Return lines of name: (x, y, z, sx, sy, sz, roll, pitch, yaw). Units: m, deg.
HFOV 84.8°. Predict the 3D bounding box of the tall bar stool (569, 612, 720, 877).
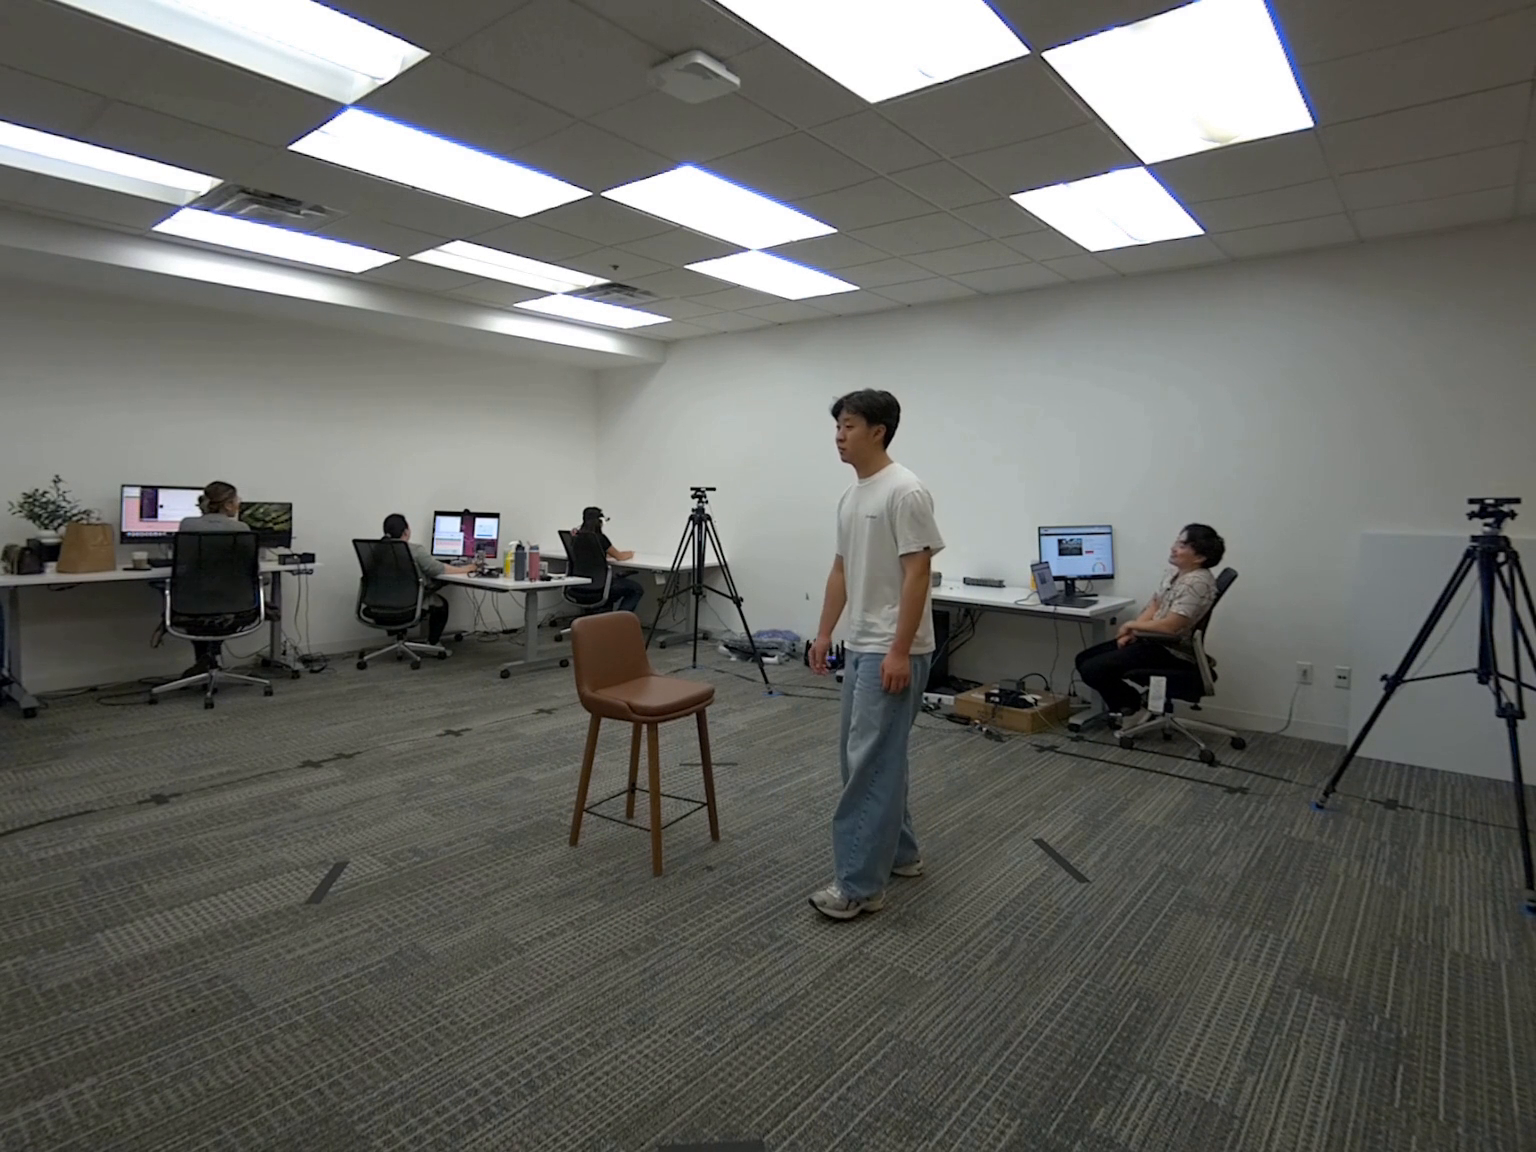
tall bar stool: (-0.489, 0.604, 3.309, 0.481, 0.888, 0.444, 0, 2, 32)
